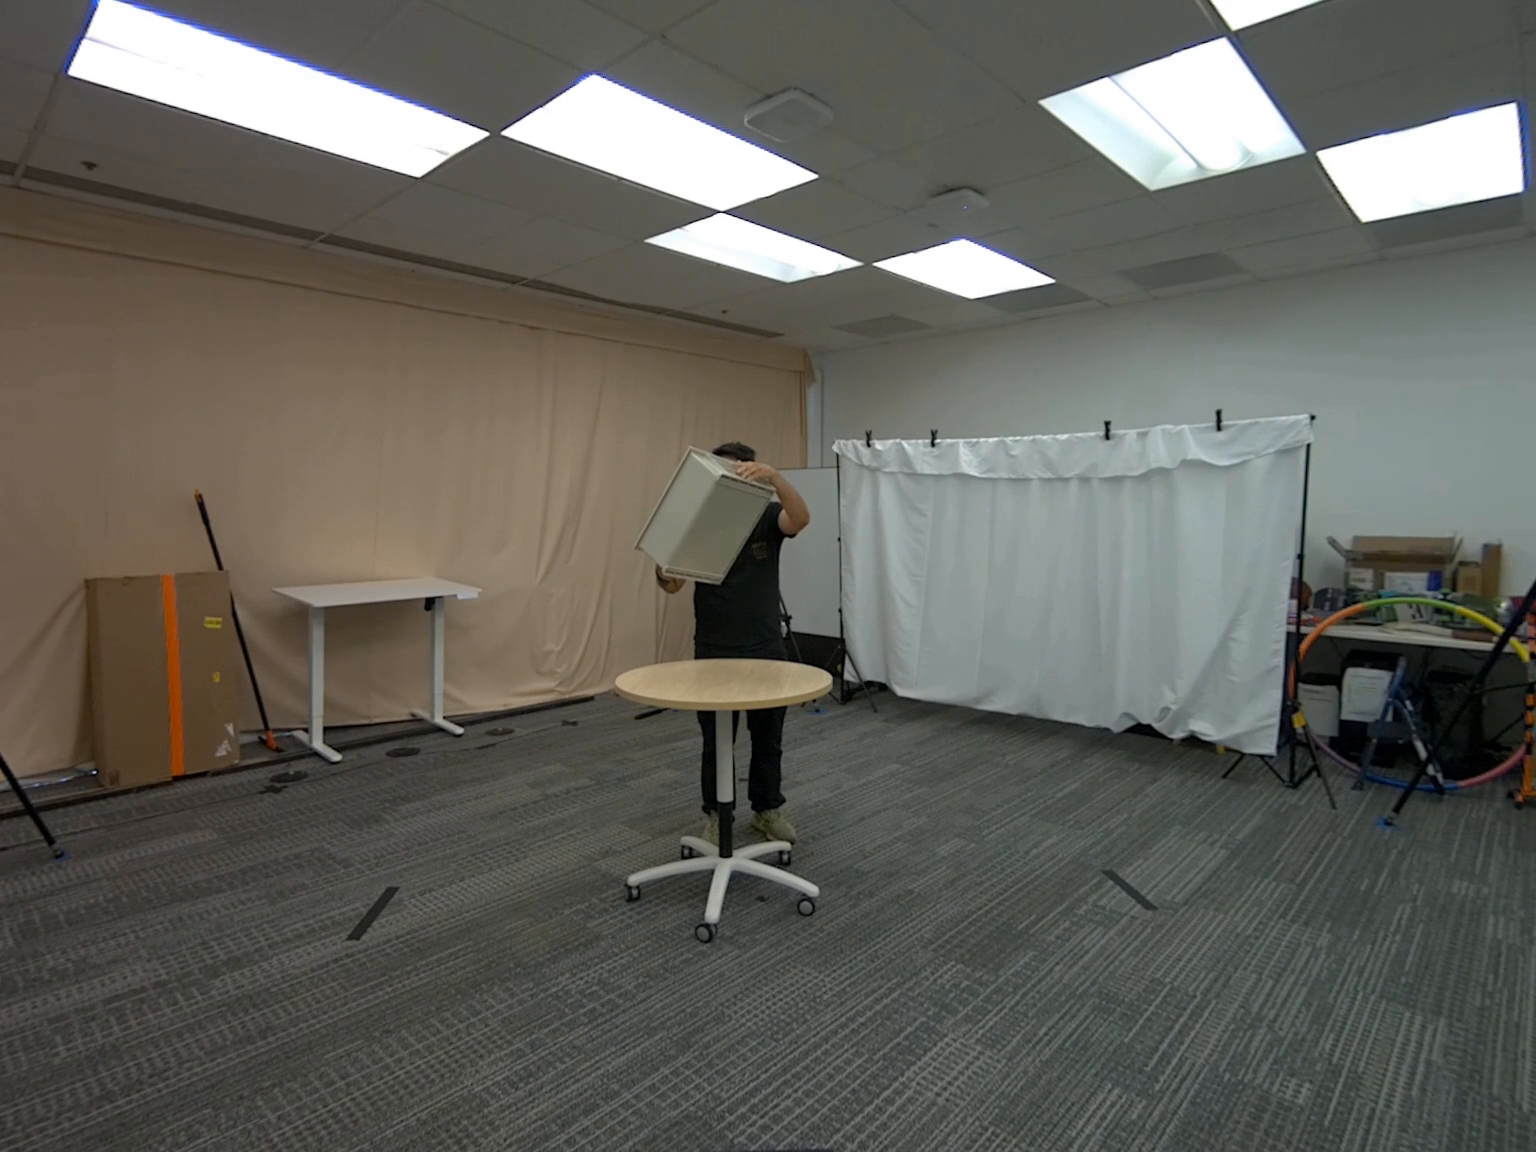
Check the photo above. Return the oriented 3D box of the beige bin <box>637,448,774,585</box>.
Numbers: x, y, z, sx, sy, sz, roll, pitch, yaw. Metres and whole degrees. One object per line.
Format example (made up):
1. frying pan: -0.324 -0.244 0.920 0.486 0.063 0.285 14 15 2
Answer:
1. beige bin: -0.211 -0.201 3.042 0.195 0.422 0.364 43 18 33
